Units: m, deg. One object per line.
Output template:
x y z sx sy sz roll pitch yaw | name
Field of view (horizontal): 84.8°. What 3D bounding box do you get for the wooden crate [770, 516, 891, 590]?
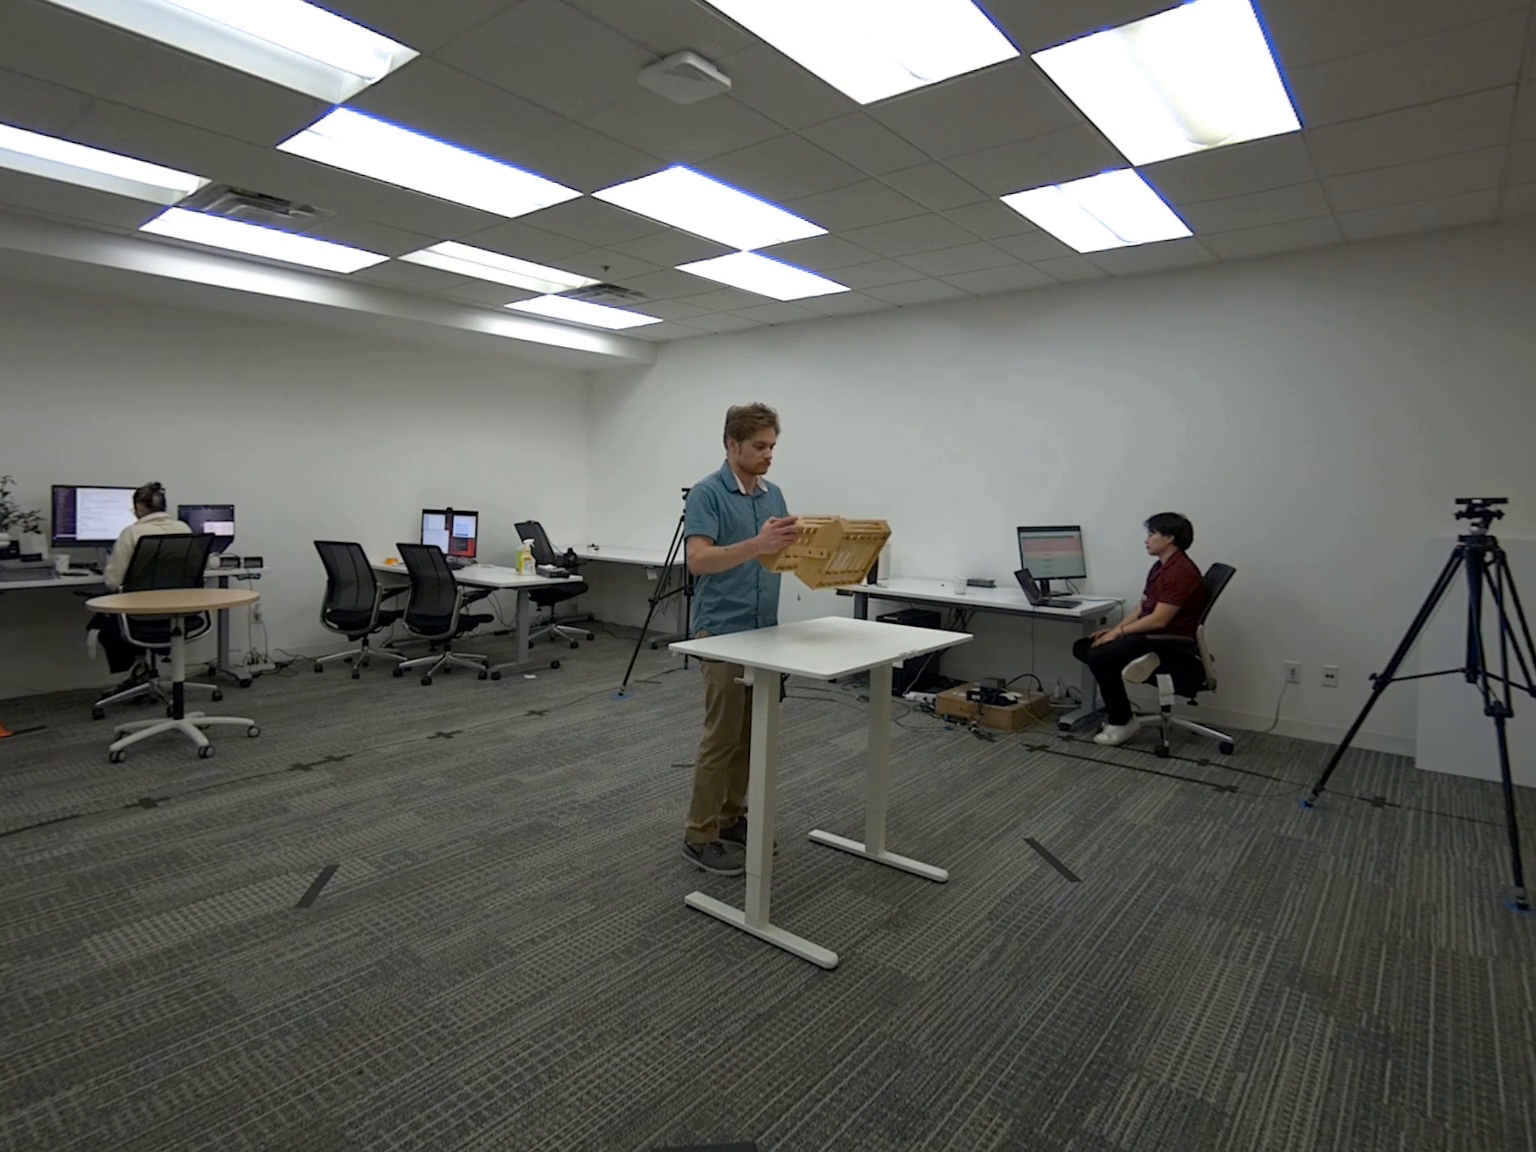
0.184 -0.121 2.957 0.284 0.299 0.314 40 26 32 | wooden crate
